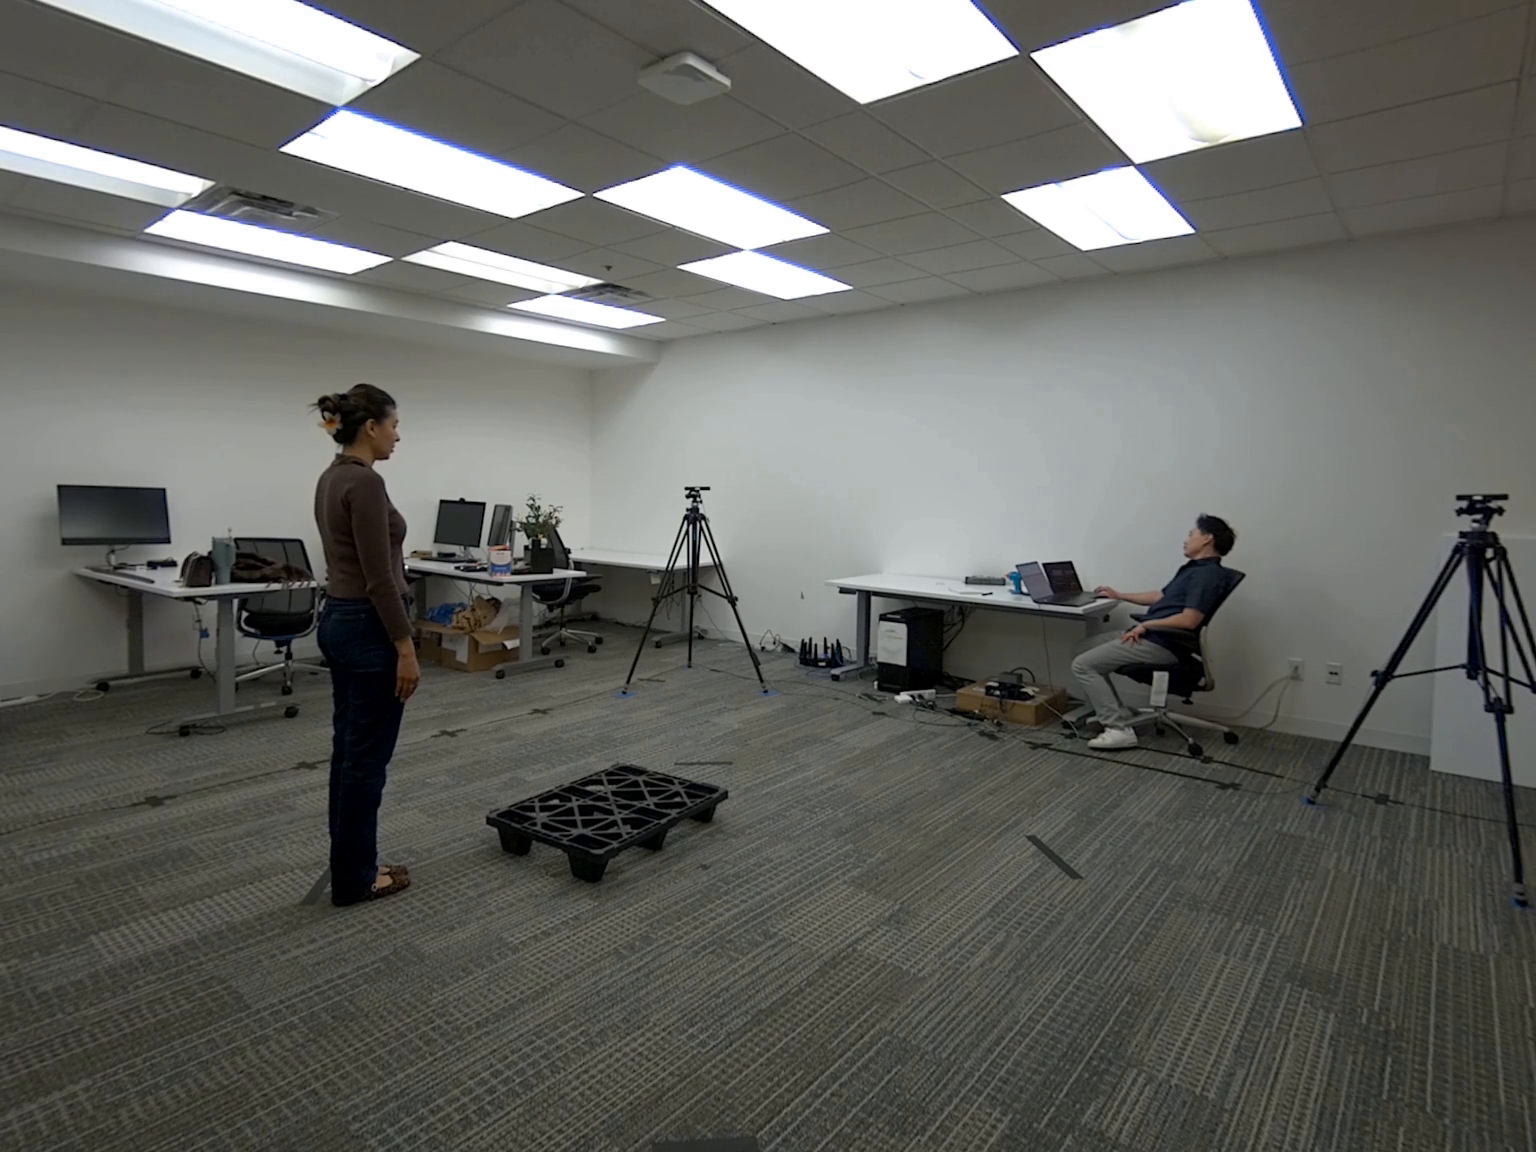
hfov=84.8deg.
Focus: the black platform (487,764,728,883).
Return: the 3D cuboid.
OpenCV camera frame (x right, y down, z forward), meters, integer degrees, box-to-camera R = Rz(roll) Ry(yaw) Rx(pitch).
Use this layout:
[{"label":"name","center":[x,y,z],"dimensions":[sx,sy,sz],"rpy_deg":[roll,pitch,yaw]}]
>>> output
[{"label":"black platform","center":[-0.635,0.965,3.398],"dimensions":[0.624,0.143,0.784],"rpy_deg":[3,6,33]}]
